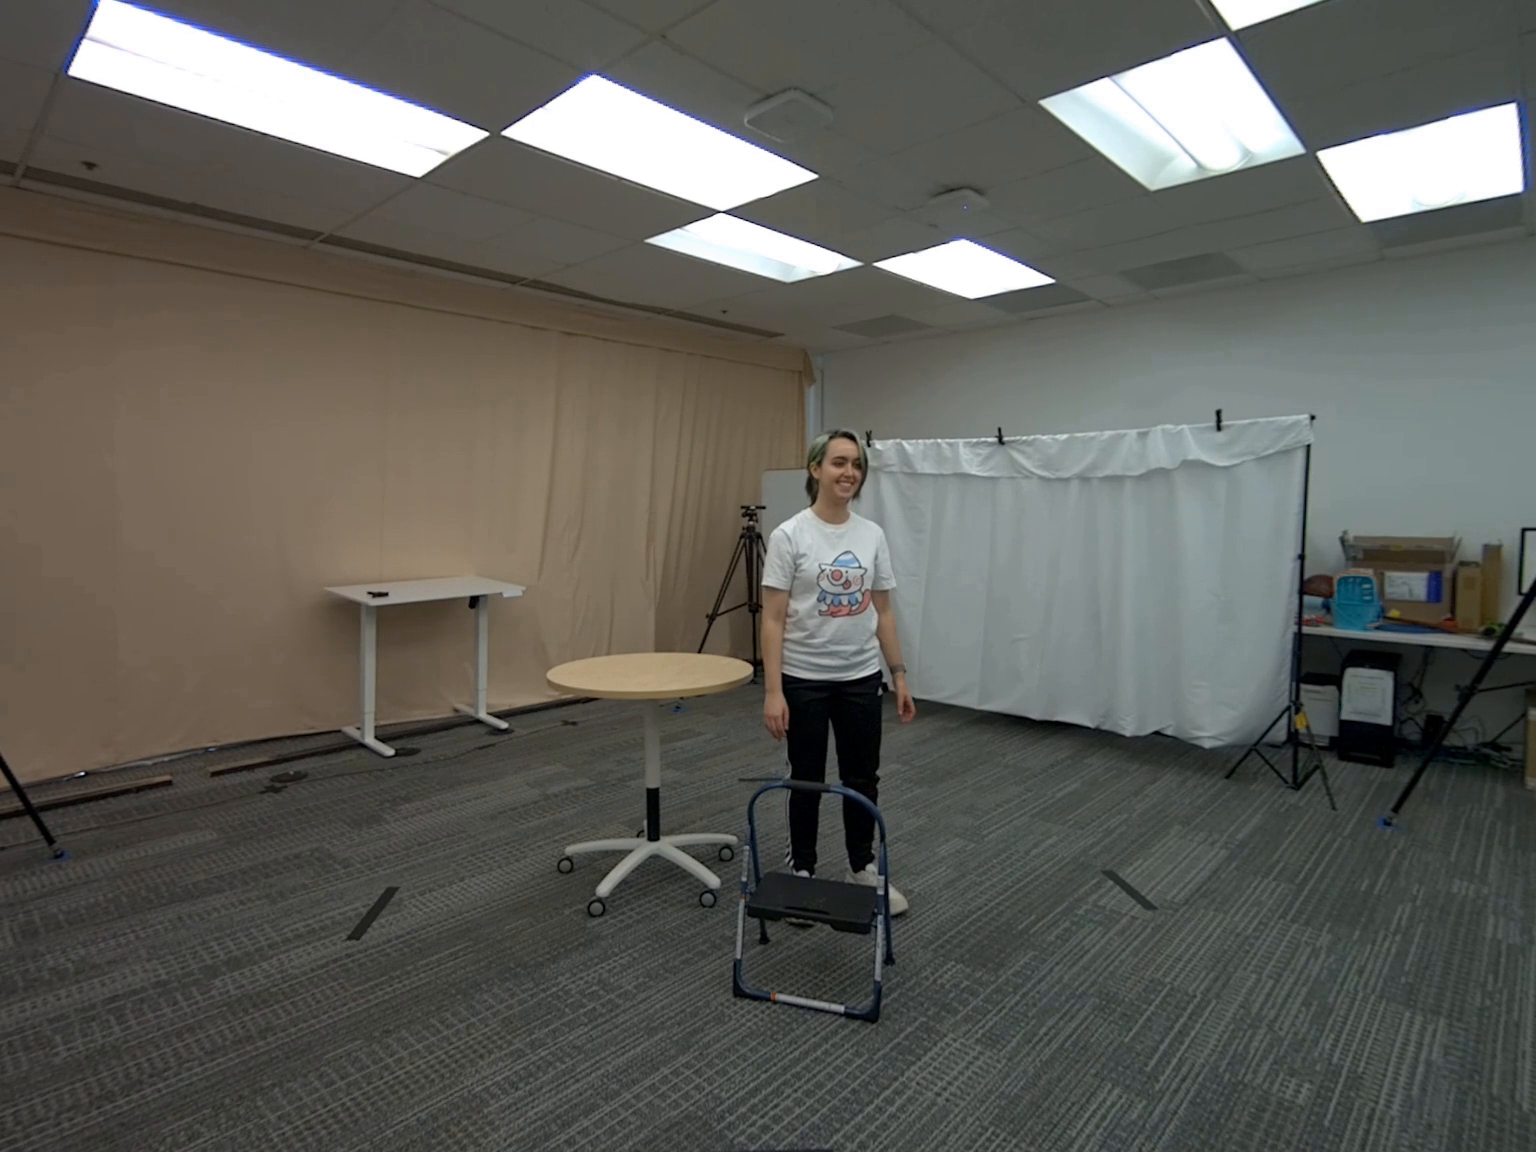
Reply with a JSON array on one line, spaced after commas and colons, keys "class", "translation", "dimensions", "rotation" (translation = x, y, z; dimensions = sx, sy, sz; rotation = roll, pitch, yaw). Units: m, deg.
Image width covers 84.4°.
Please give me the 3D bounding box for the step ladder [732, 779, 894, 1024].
[{"class": "step ladder", "translation": [0.138, 0.886, 2.467], "dimensions": [0.439, 0.605, 0.343], "rotation": [1, 3, 17]}]
